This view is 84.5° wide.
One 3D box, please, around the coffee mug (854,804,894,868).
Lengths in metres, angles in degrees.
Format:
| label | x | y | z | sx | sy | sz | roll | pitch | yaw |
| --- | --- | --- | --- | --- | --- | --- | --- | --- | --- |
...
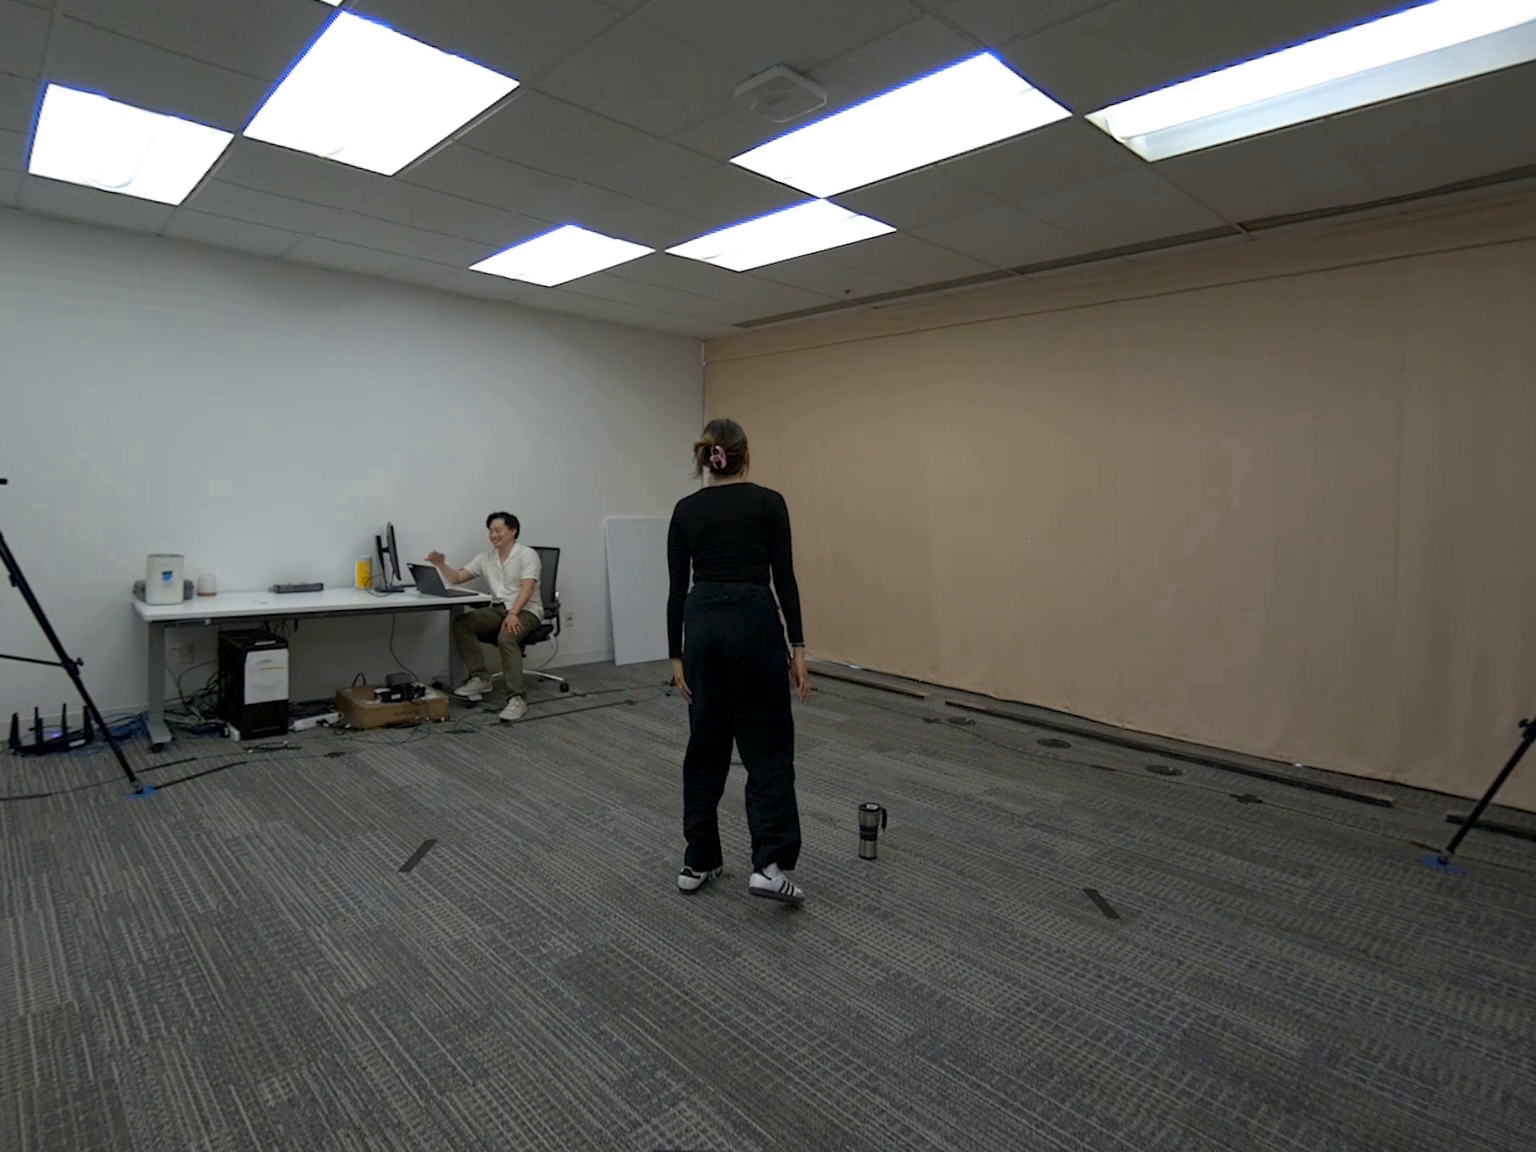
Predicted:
| label | x | y | z | sx | sy | sz | roll | pitch | yaw |
| --- | --- | --- | --- | --- | --- | --- | --- | --- | --- |
| coffee mug | 0.412 | 1.010 | 3.296 | 0.121 | 0.203 | 0.088 | -3 | 2 | -8 |
